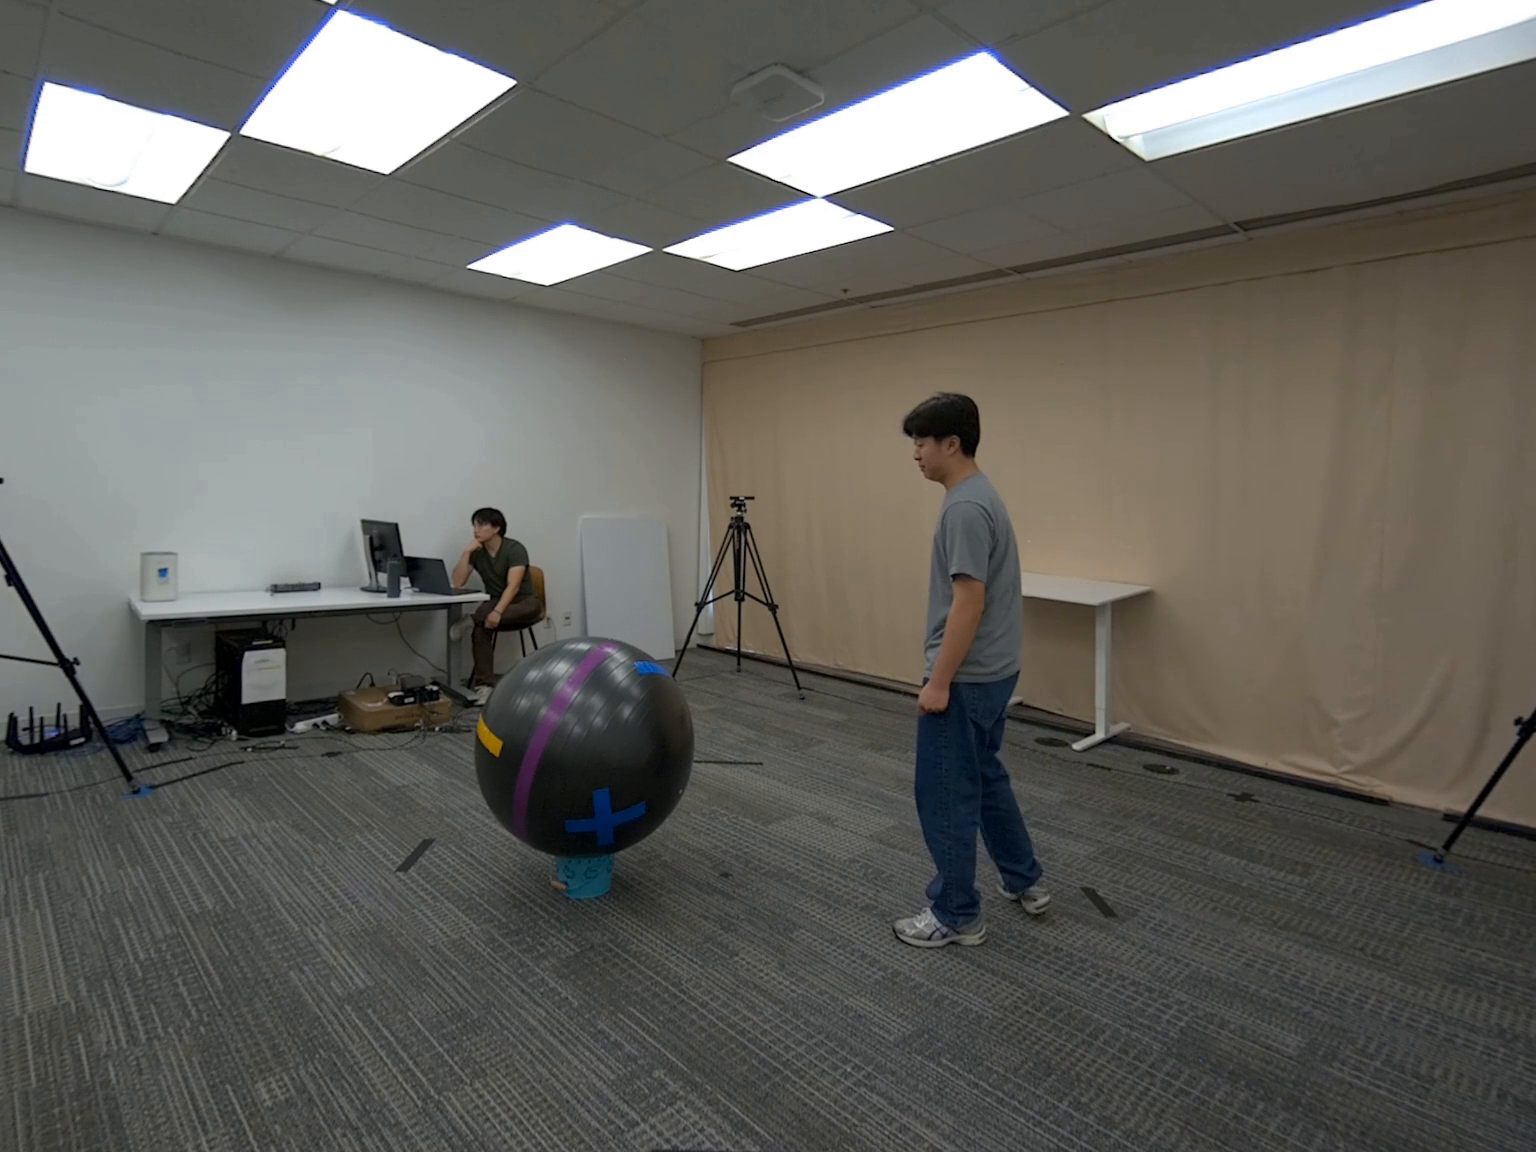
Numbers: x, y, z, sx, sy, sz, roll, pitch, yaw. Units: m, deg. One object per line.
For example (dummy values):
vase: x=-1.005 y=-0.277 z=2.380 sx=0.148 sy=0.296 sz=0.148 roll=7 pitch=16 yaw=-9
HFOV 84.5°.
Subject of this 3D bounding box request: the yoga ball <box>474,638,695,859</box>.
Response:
yoga ball: x=-0.637 y=0.593 z=2.962 sx=0.757 sy=0.756 sz=0.761 roll=1 pitch=4 yaw=-1
